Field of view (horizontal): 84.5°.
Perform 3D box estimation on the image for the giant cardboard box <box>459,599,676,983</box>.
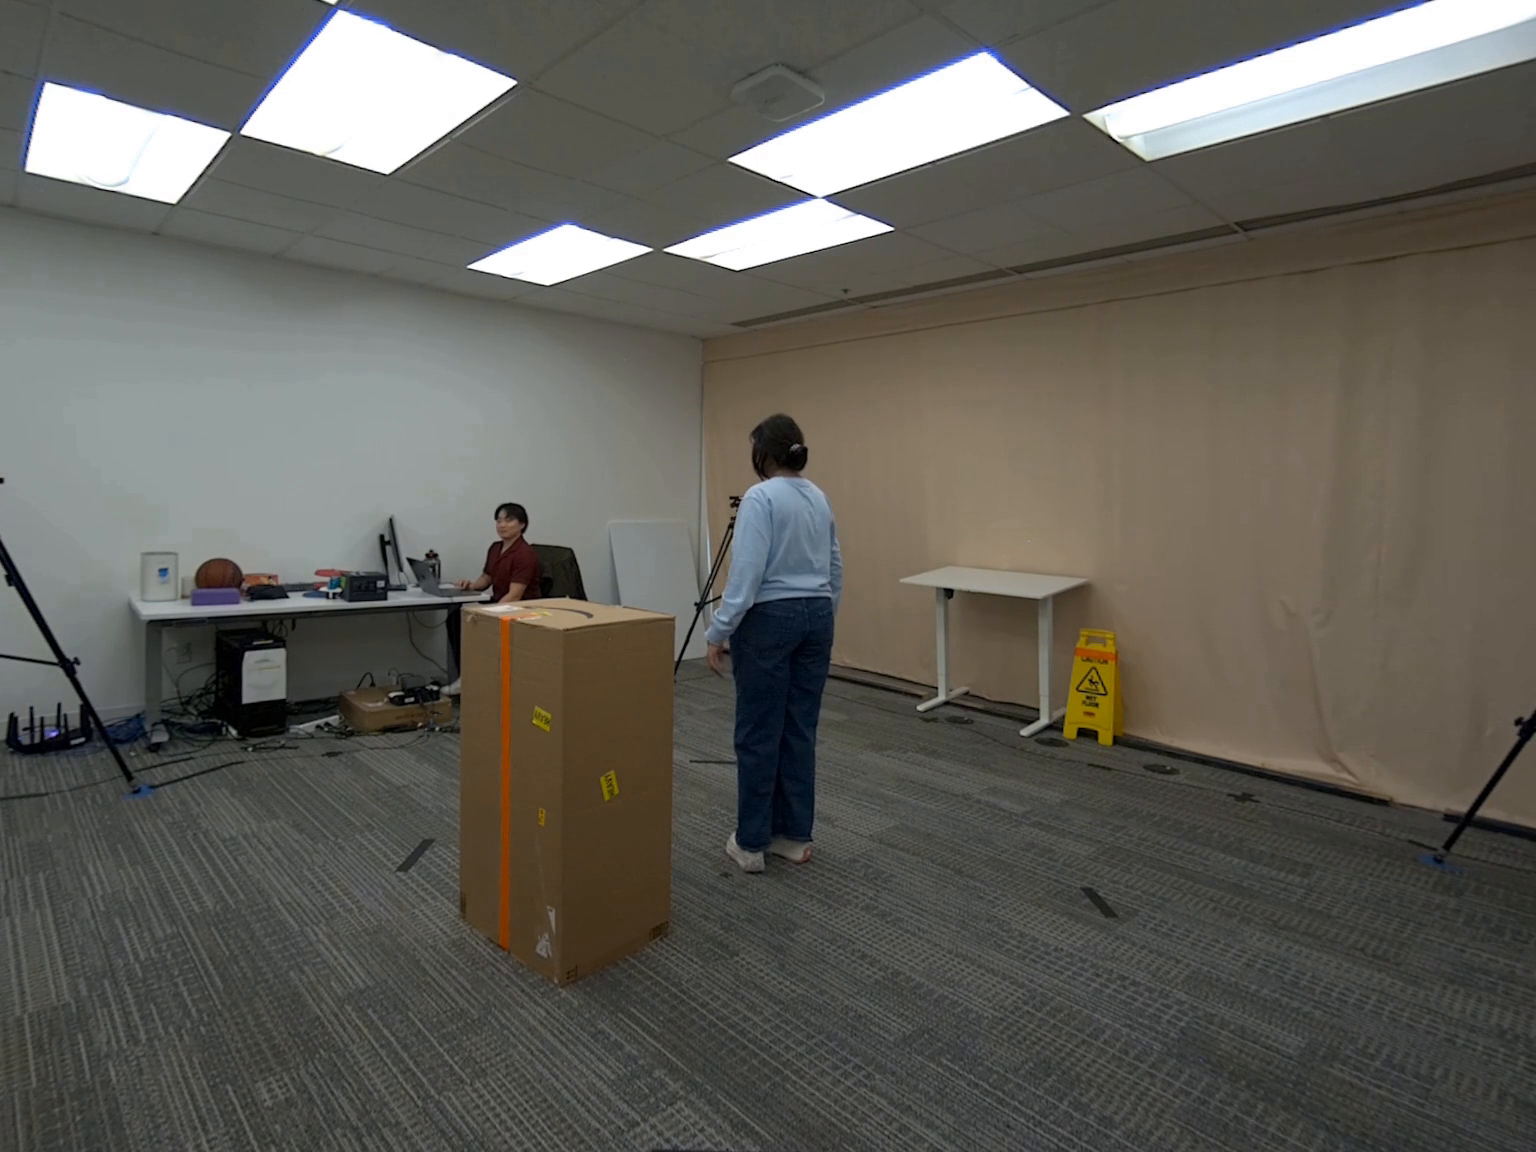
[{"bbox_3d":[-0.660,0.623,2.683,0.599,1.024,0.437,5,5,44],"label":"giant cardboard box"}]
